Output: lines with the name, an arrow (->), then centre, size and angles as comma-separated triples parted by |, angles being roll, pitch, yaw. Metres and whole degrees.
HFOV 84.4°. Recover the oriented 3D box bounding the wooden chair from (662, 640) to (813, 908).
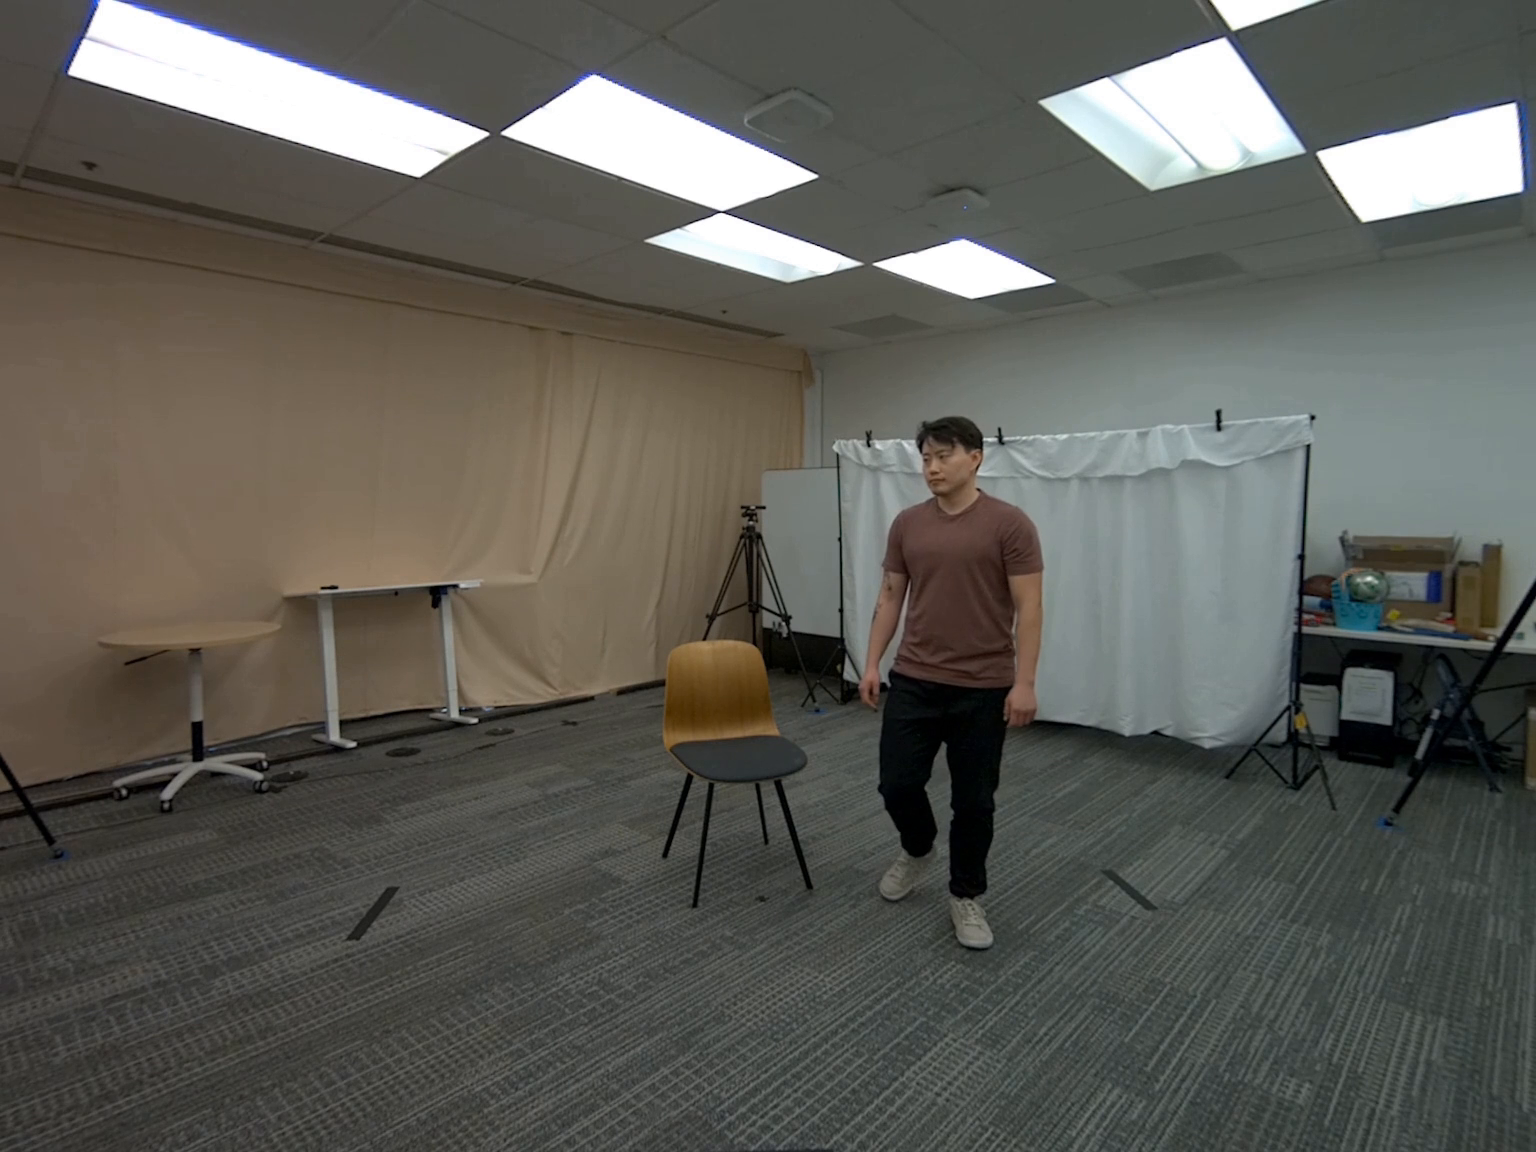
wooden chair -> -0.127, 0.705, 3.161 | 0.469, 0.878, 0.533 | -1, -1, -19
